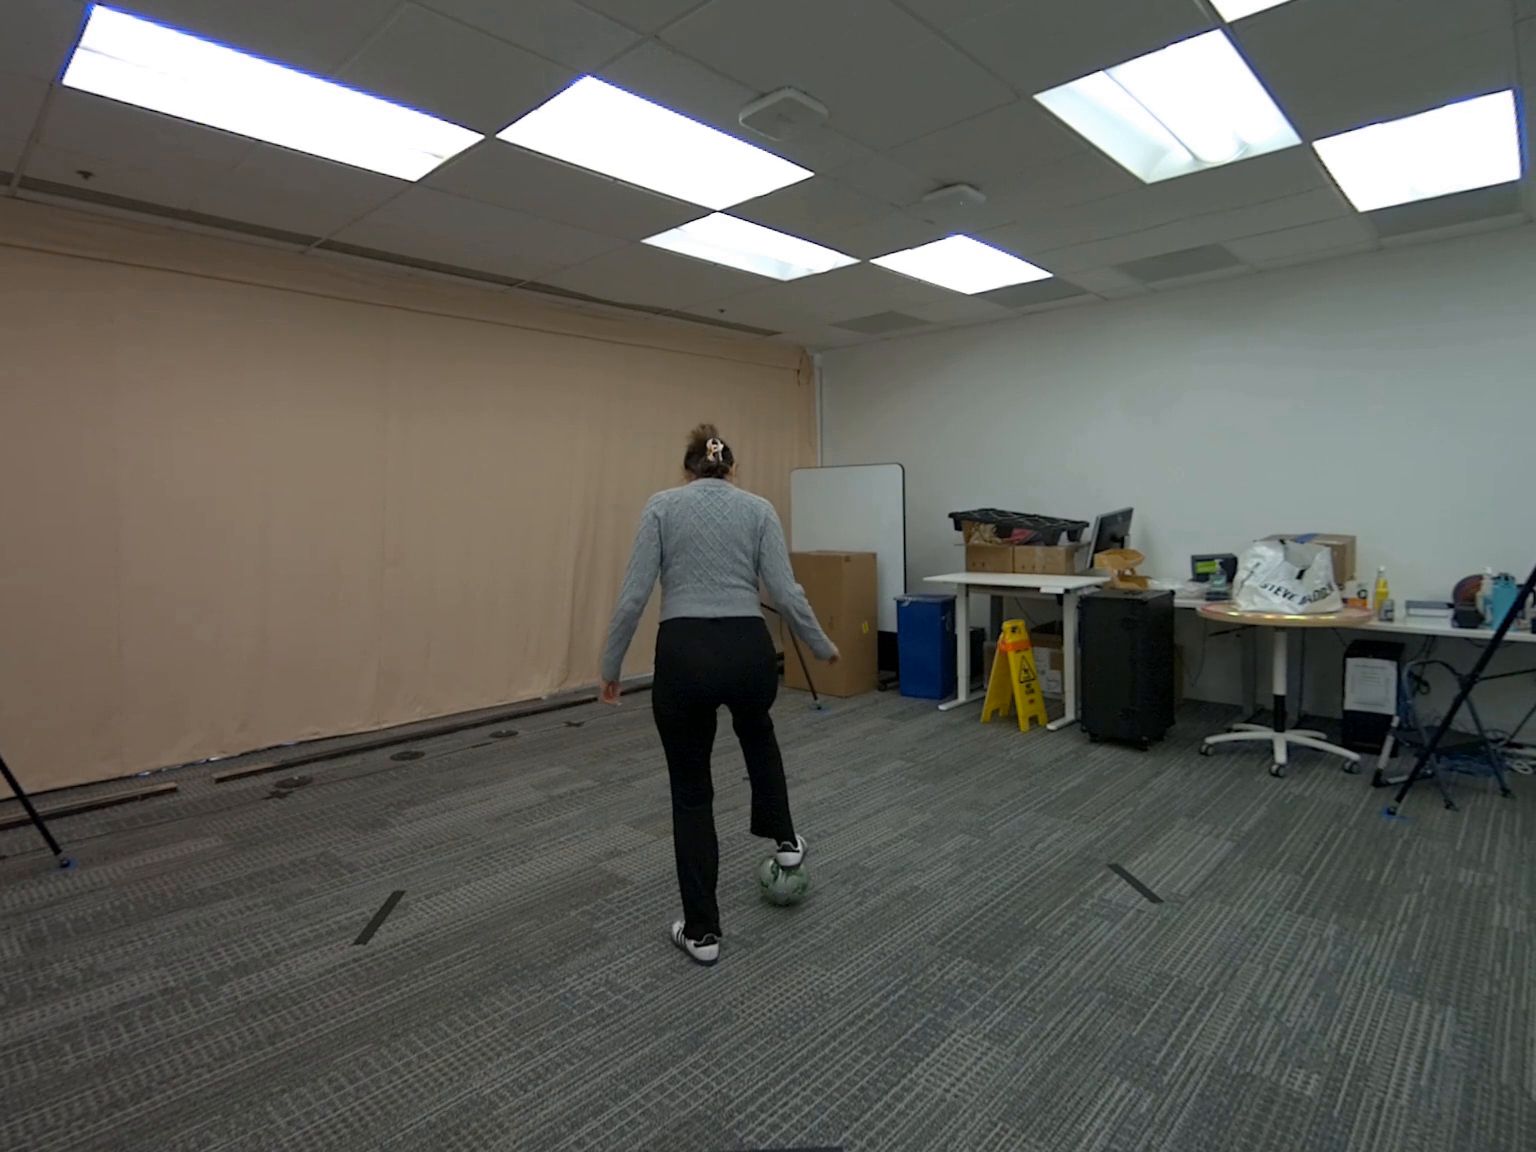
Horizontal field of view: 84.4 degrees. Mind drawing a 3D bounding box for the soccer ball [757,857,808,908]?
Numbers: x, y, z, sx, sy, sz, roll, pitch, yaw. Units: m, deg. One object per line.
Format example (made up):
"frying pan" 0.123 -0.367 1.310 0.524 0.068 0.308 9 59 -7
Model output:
"soccer ball" 0.047 1.047 2.956 0.187 0.187 0.188 -1 4 -2
